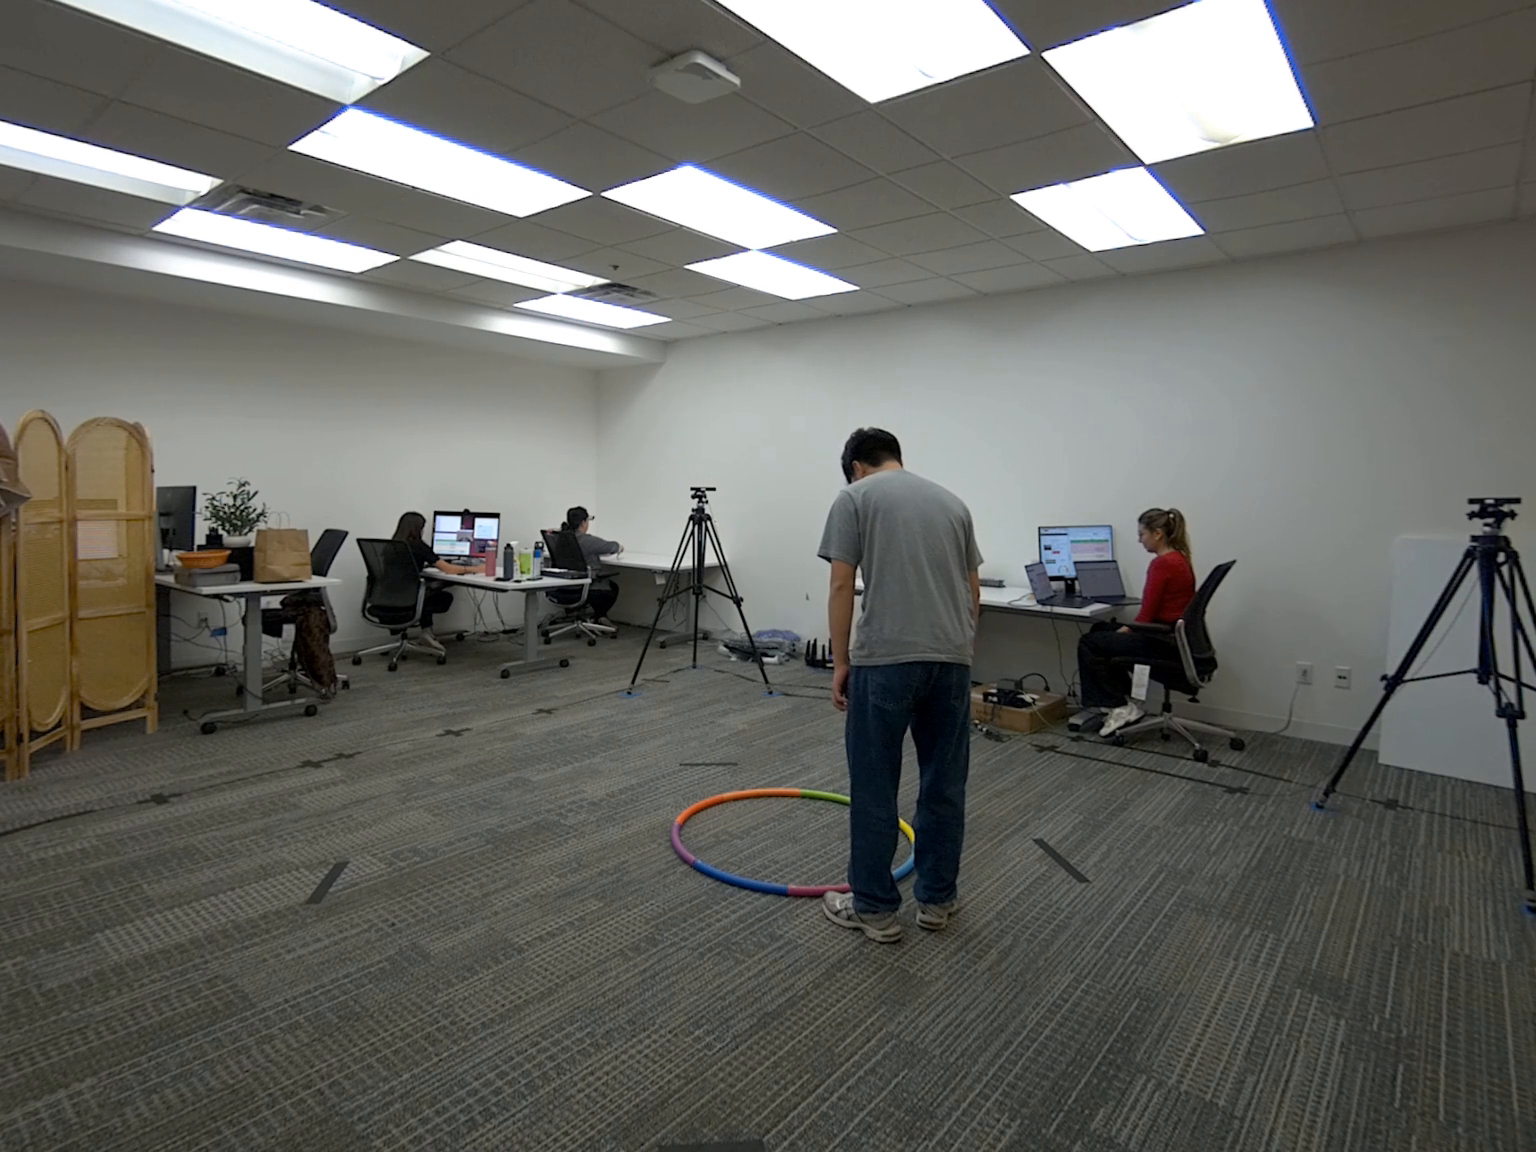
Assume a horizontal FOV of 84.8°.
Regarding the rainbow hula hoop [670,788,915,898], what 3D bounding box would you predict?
[{"bbox_3d":[0.094,1.017,3.382,0.978,0.035,0.984,1,6,-2],"label":"rainbow hula hoop"}]
